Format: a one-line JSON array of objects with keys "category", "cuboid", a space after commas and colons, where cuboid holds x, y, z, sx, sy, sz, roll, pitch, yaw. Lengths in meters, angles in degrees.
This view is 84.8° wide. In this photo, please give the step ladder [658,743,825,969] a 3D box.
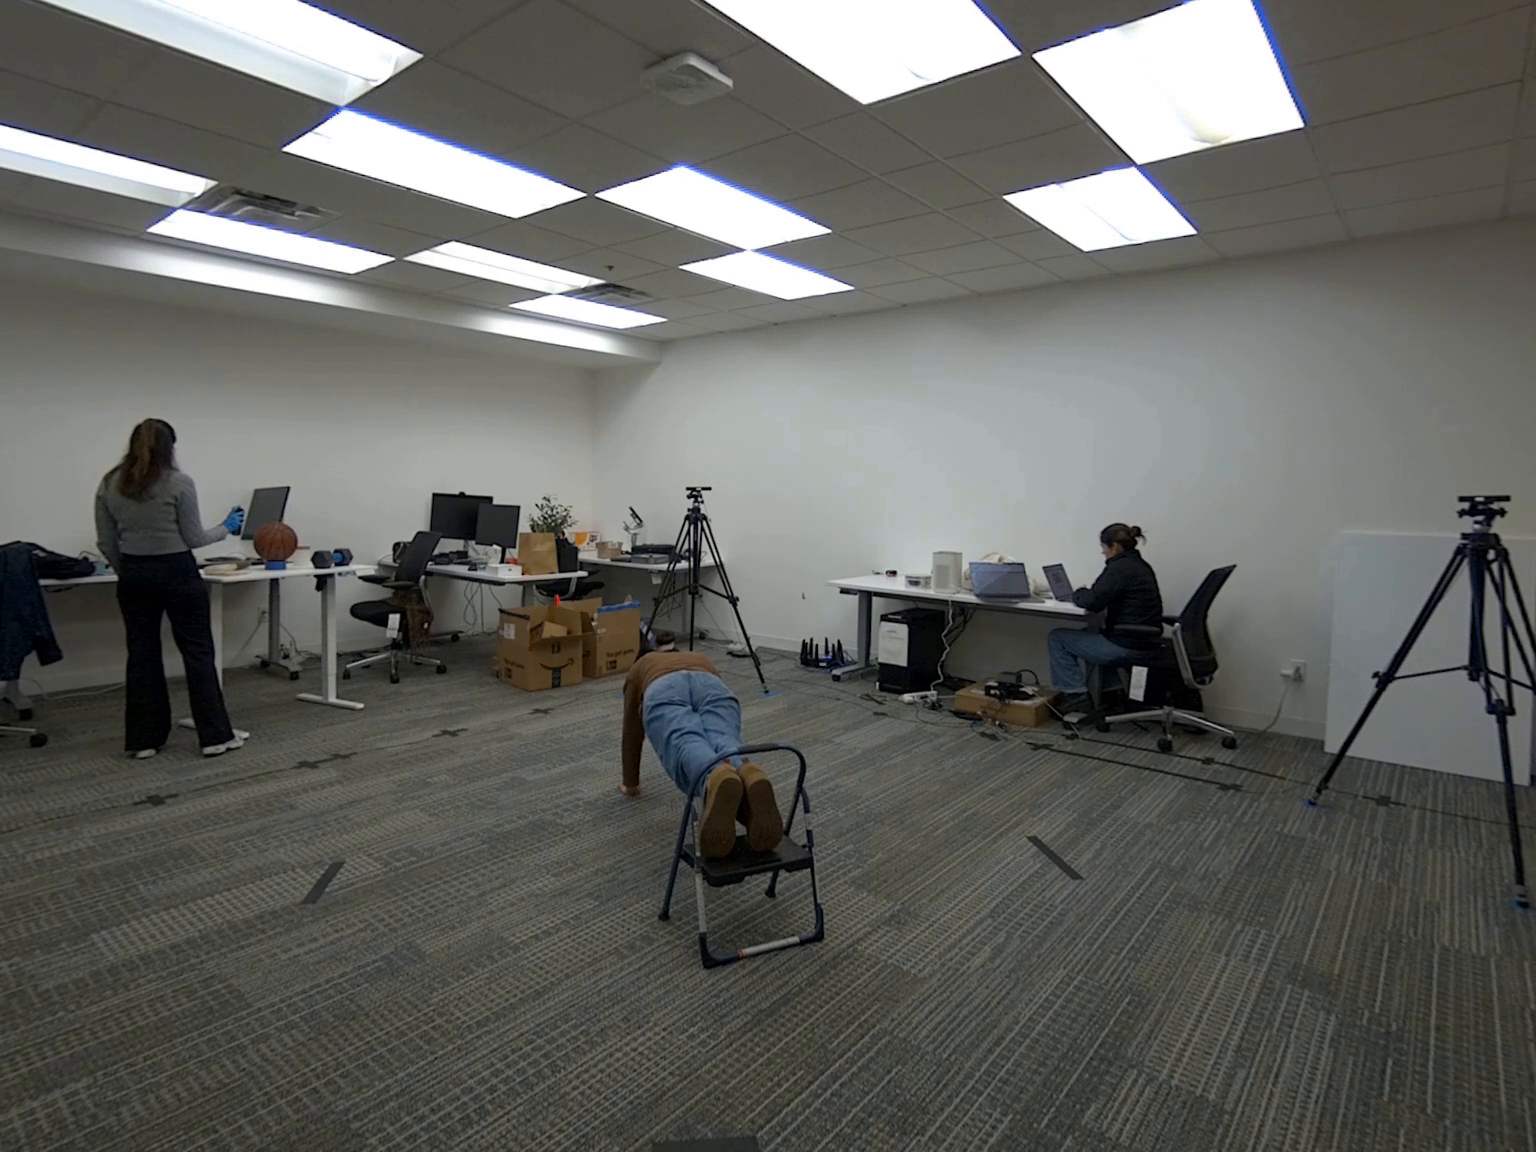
[{"category": "step ladder", "cuboid": [-0.087, 0.809, 2.676, 0.419, 0.604, 0.360, -1, 4, -29]}]
